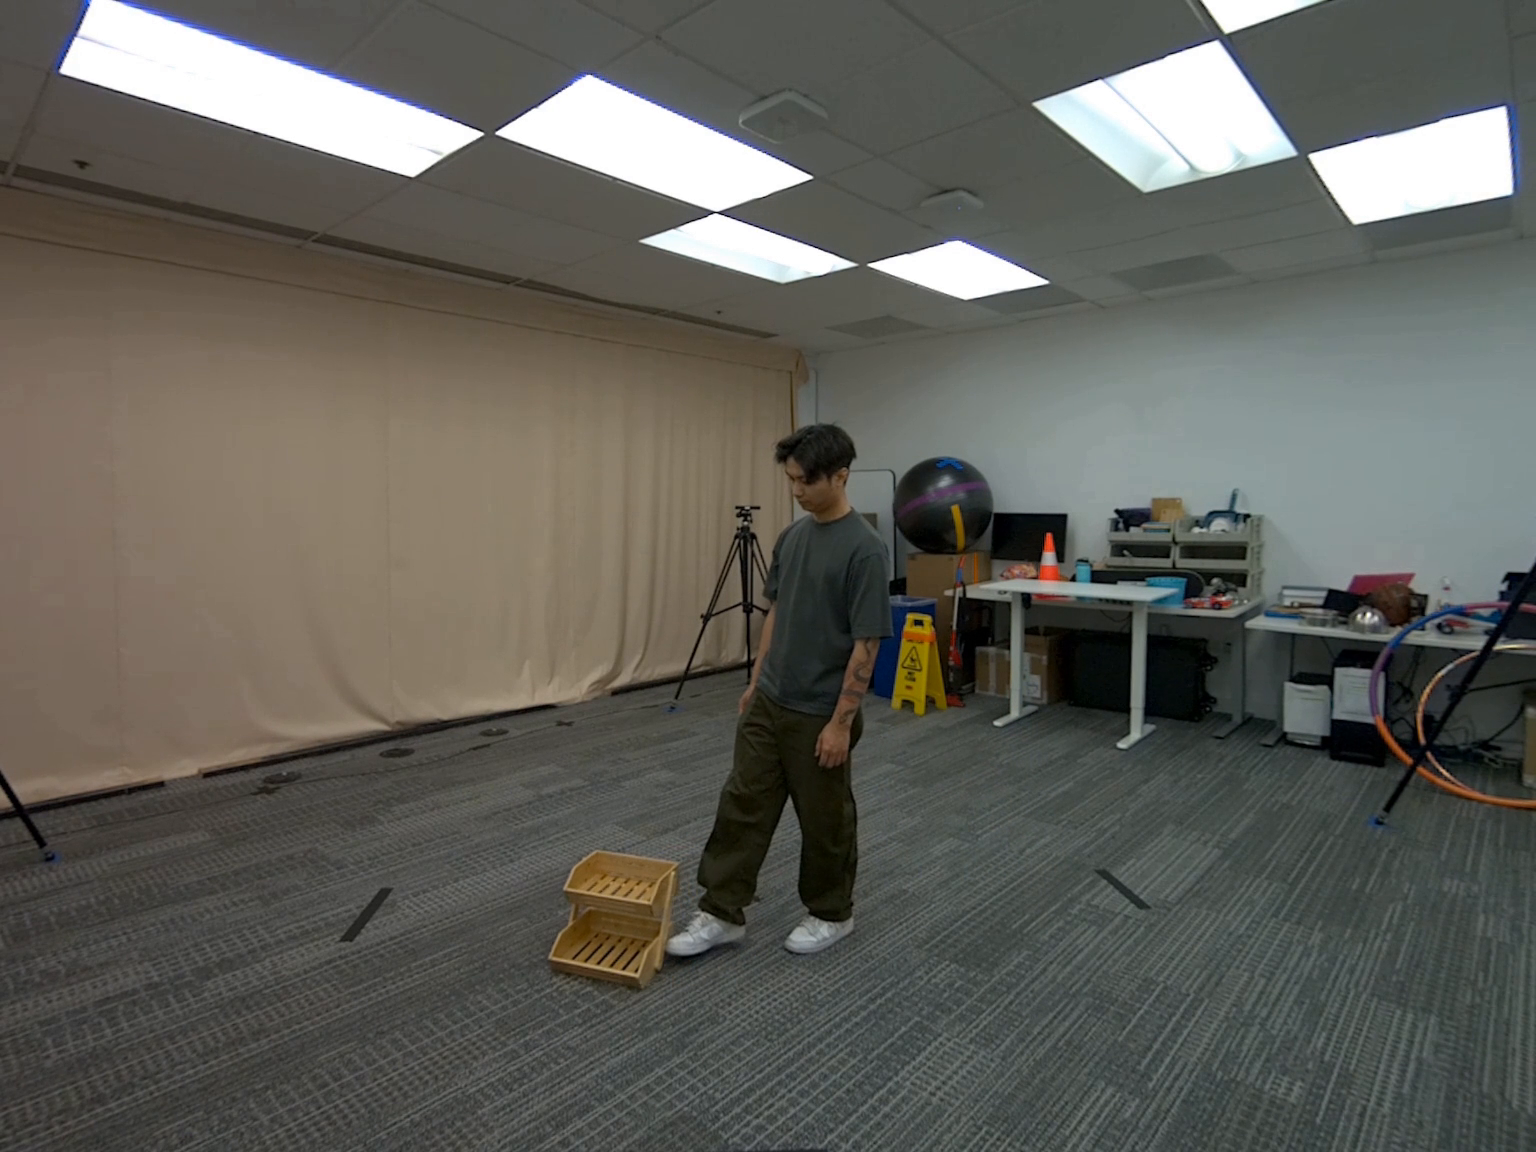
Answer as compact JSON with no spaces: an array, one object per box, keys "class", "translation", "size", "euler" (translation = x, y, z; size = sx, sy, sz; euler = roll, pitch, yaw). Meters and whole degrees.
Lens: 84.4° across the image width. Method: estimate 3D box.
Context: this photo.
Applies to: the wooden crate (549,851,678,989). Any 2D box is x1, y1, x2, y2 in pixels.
[{"class":"wooden crate","translation":[-0.466,1.052,2.585],"size":[0.331,0.273,0.297],"euler":[1,3,18]}]
